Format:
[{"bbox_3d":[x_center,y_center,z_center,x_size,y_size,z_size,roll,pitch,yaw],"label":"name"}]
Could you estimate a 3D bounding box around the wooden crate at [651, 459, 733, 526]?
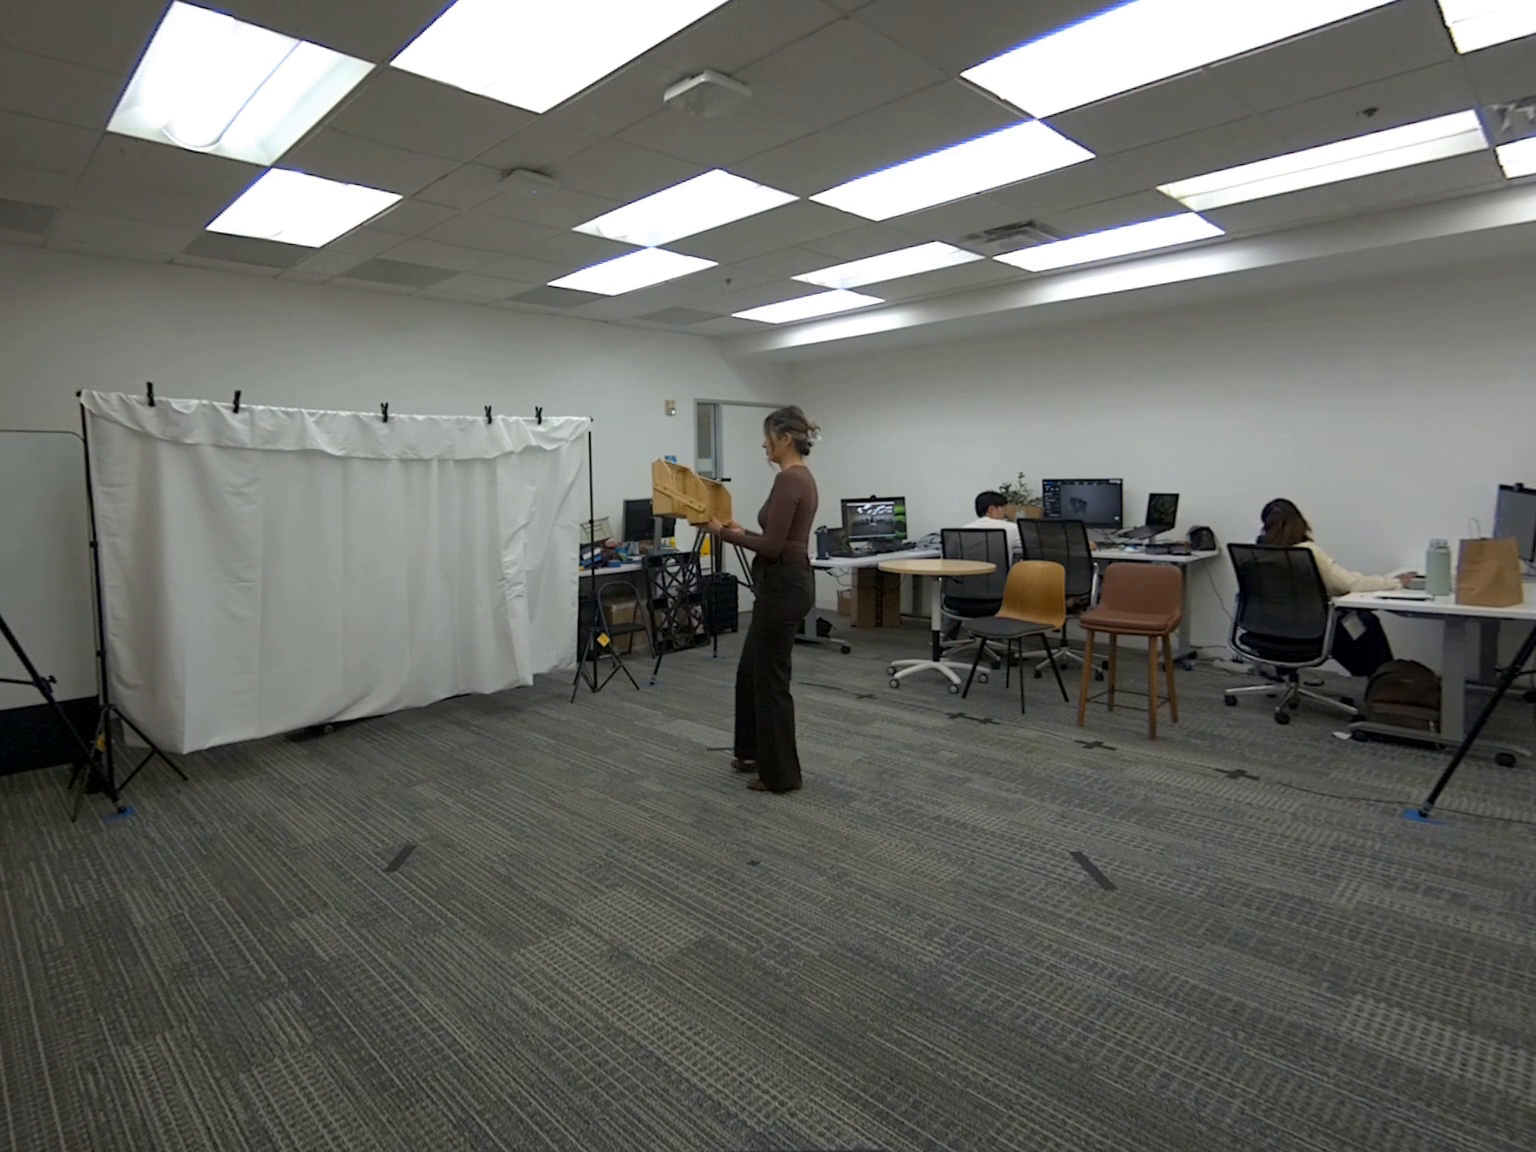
[{"bbox_3d":[-0.342,-0.385,3.932,0.278,0.303,0.318,-3,-2,20],"label":"wooden crate"}]
